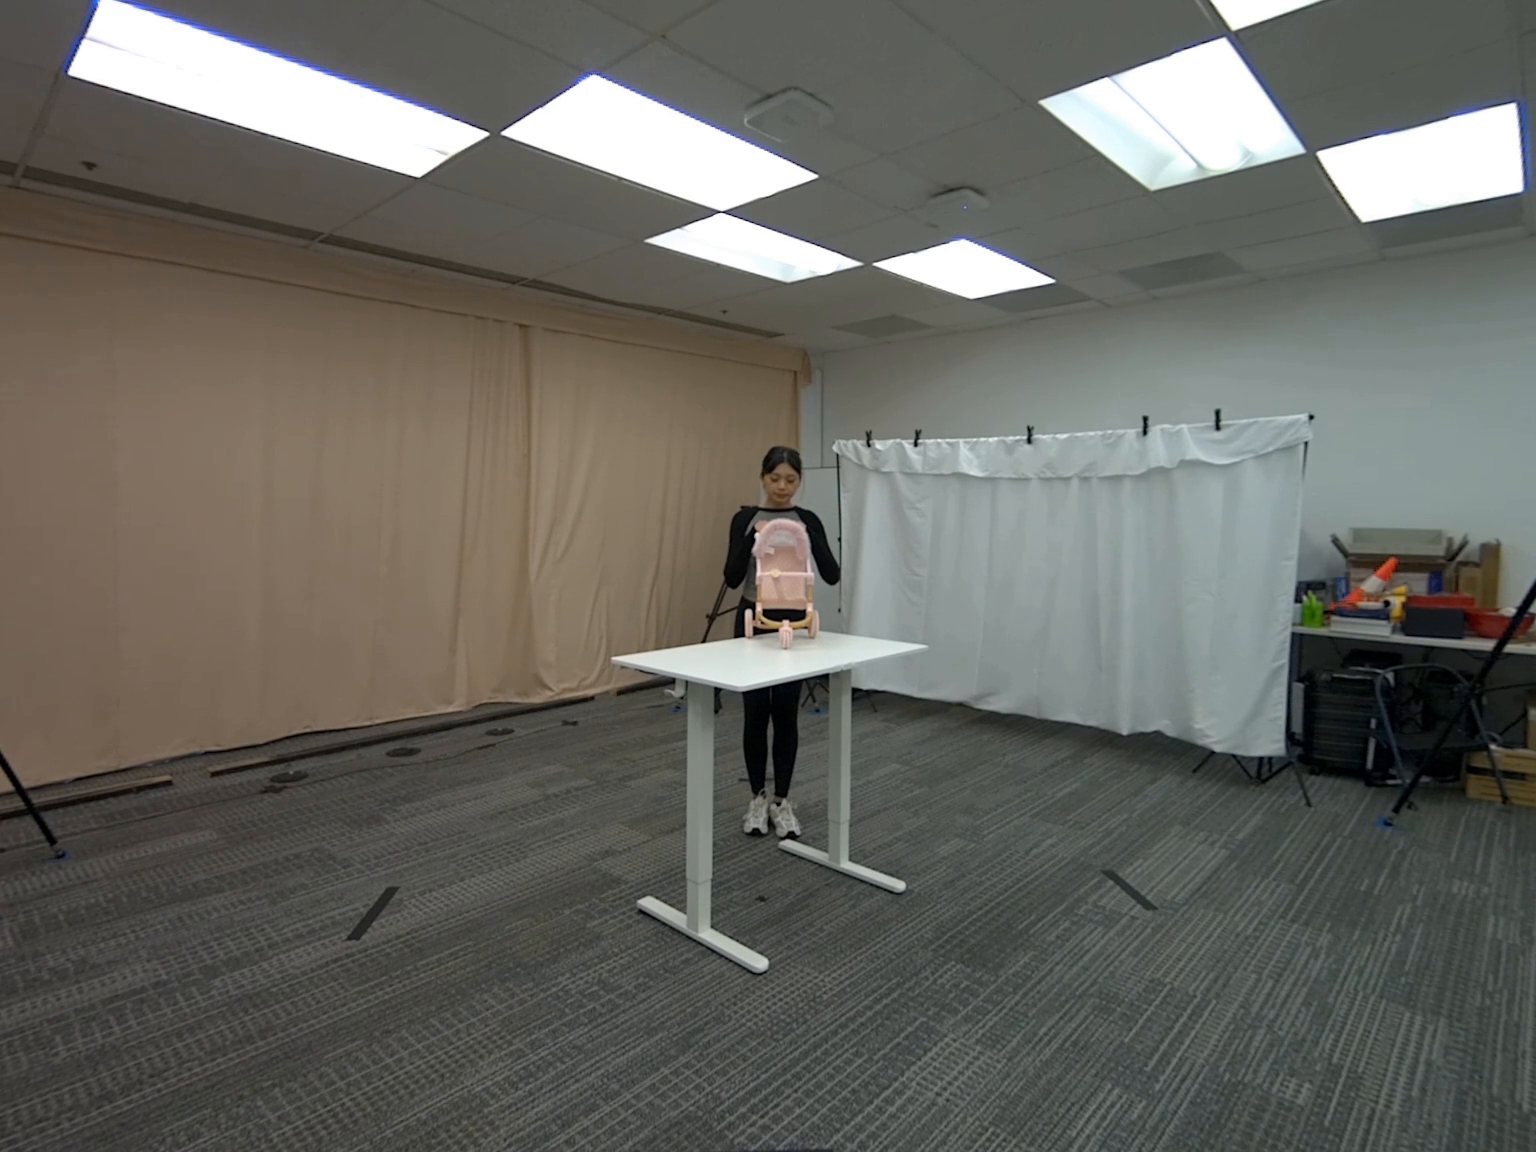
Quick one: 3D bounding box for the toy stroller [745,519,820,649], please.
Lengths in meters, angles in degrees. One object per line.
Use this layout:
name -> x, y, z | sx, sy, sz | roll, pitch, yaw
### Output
toy stroller -> 0.051, 0.023, 3.173 | 0.282, 0.539, 0.338 | 0, -13, 2
